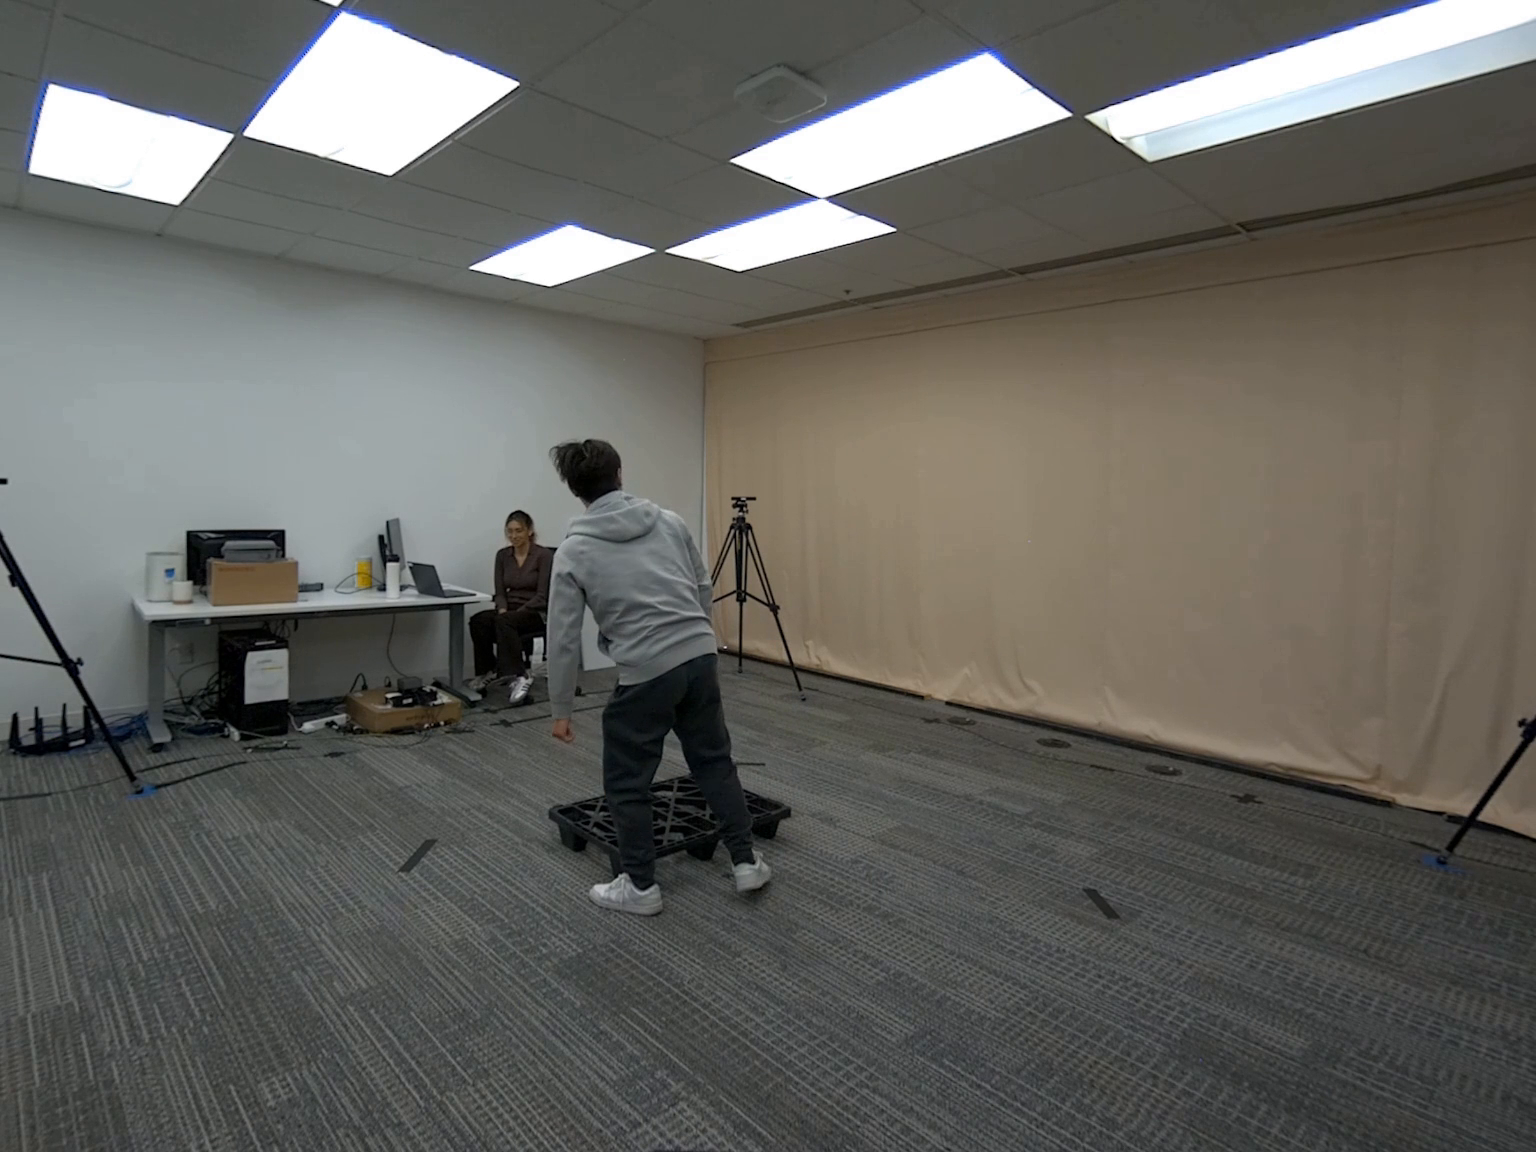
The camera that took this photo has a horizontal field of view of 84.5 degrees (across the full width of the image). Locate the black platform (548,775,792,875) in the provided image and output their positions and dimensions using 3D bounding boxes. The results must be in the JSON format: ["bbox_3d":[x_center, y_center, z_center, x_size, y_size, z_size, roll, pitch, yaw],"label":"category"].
[{"bbox_3d":[-0.393,1.009,3.410,0.787,0.143,0.621,-3,7,-42],"label":"black platform"}]
